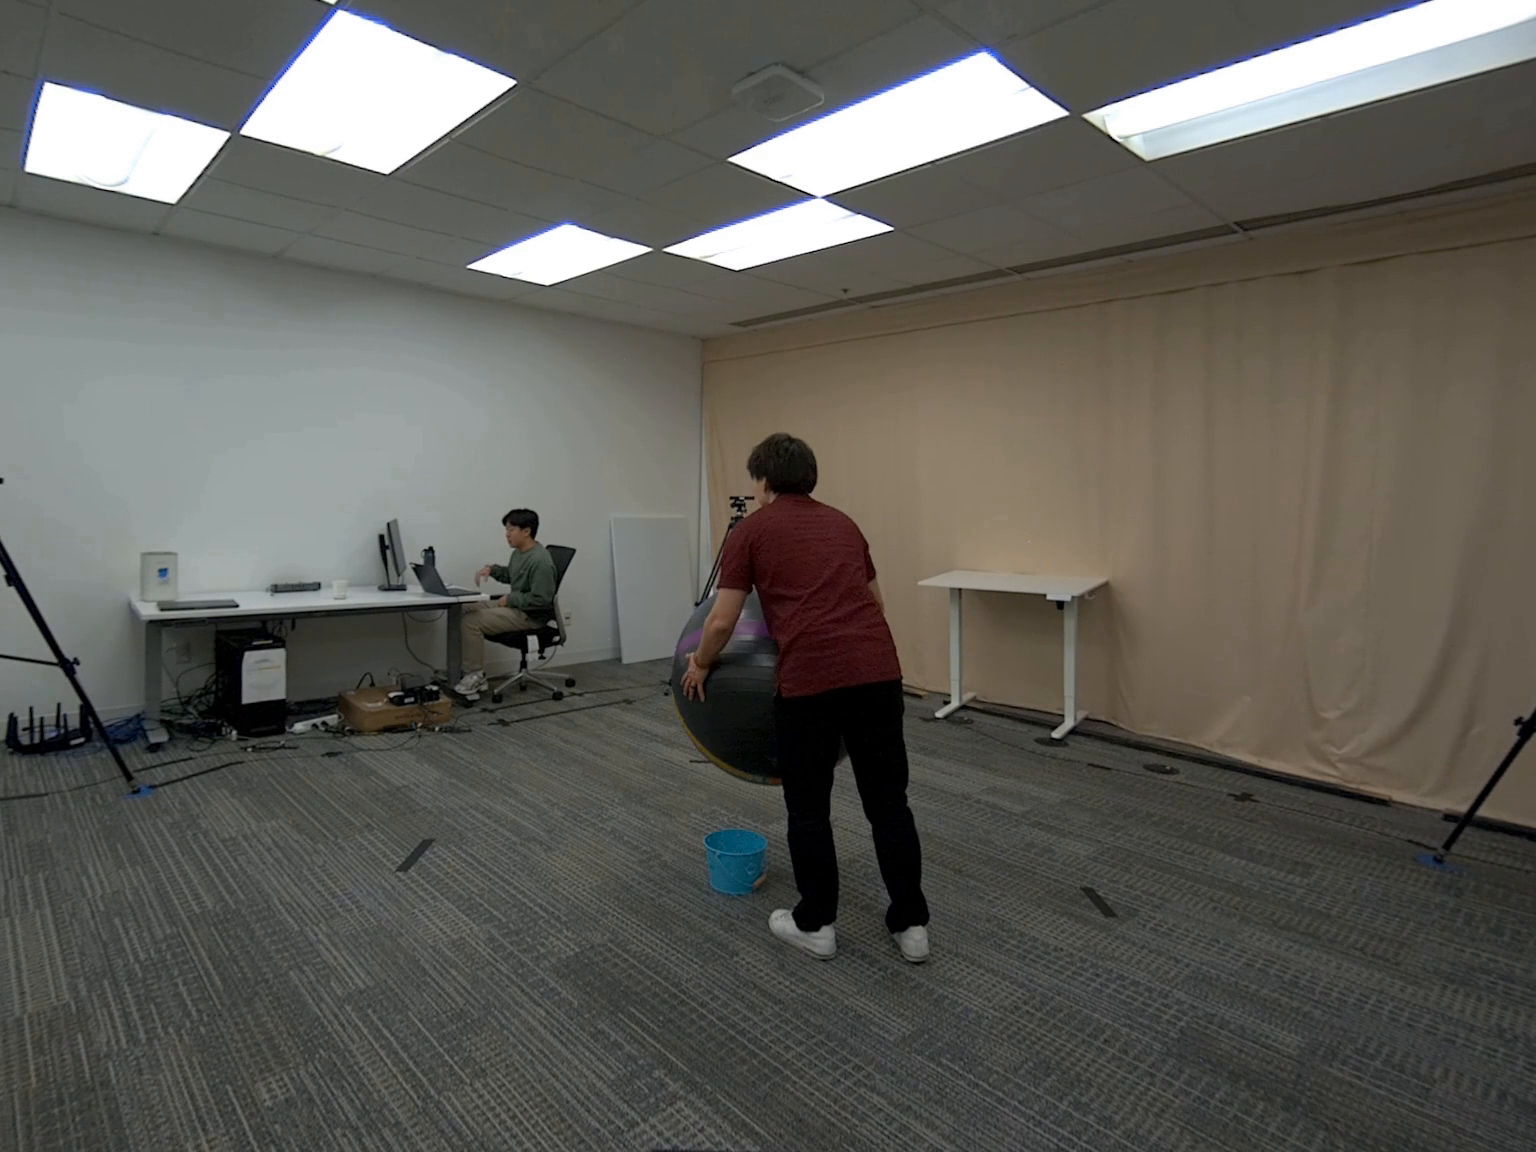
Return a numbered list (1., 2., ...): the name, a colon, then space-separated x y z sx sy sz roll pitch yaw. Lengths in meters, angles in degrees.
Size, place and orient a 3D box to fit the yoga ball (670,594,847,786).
1. yoga ball: 0.024 0.377 3.083 0.757 0.756 0.761 1 4 -1
